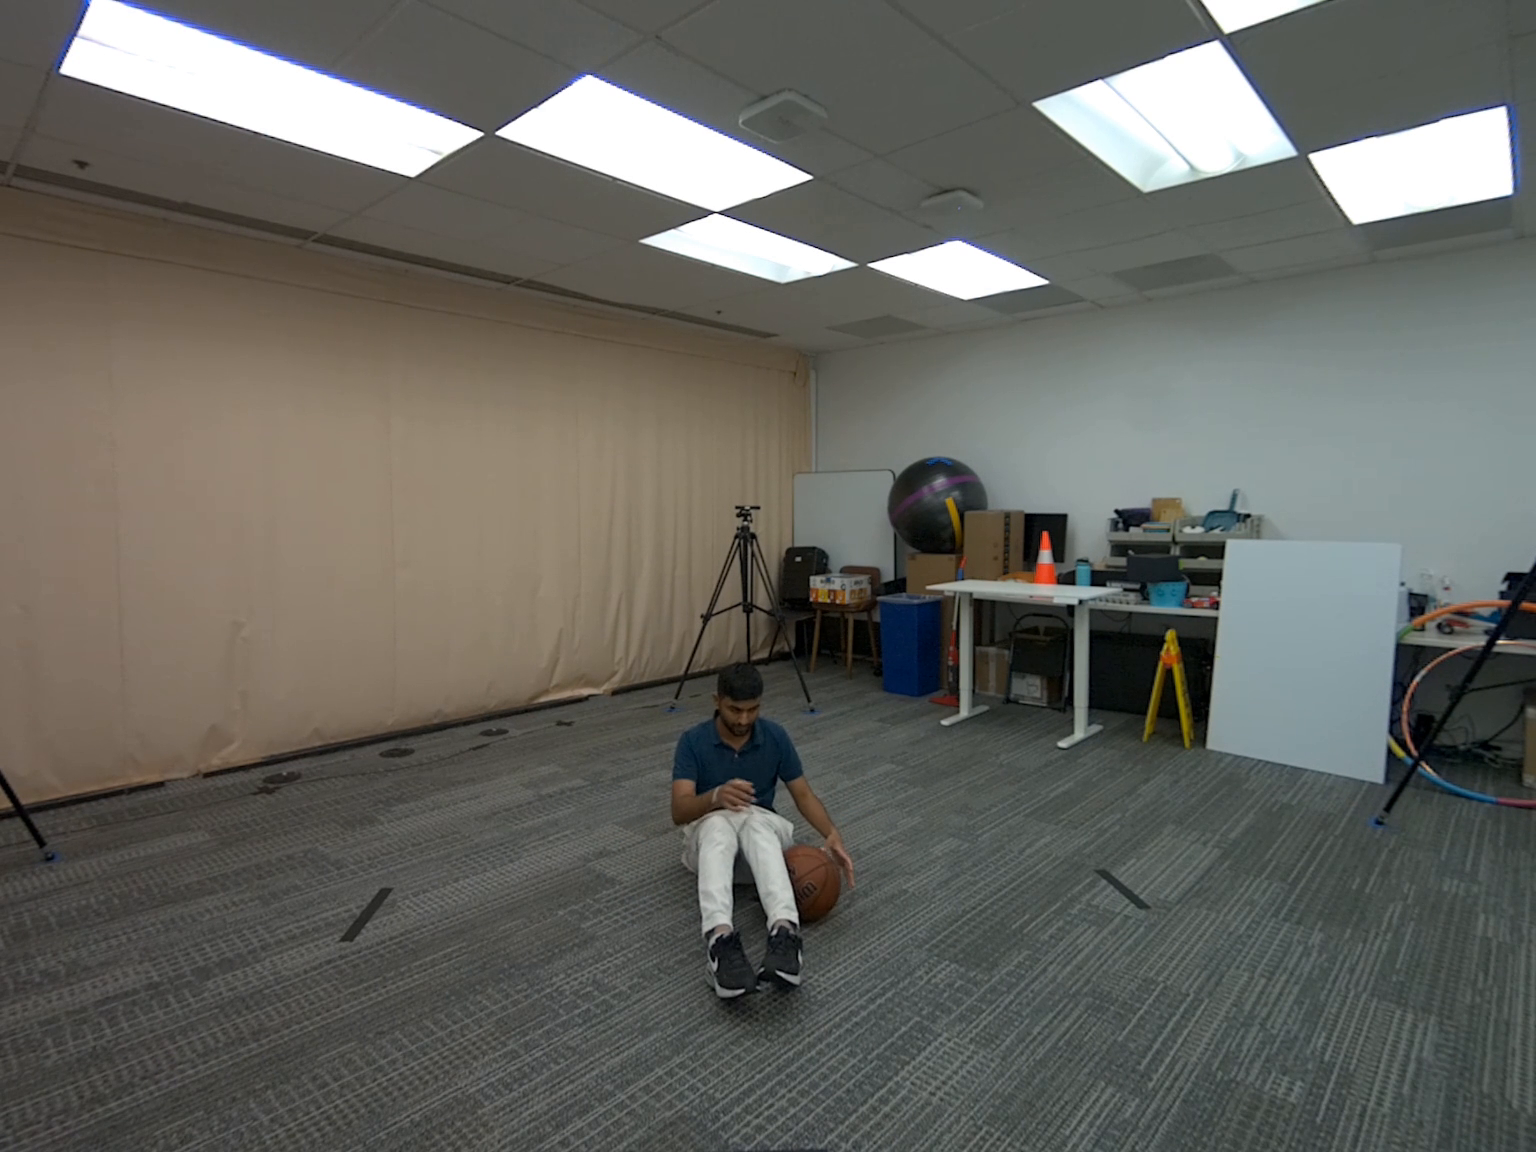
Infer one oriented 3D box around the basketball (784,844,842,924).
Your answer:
[{"bbox_3d":[0.124,1.028,2.837,0.236,0.235,0.237,0,4,-2],"label":"basketball"}]
